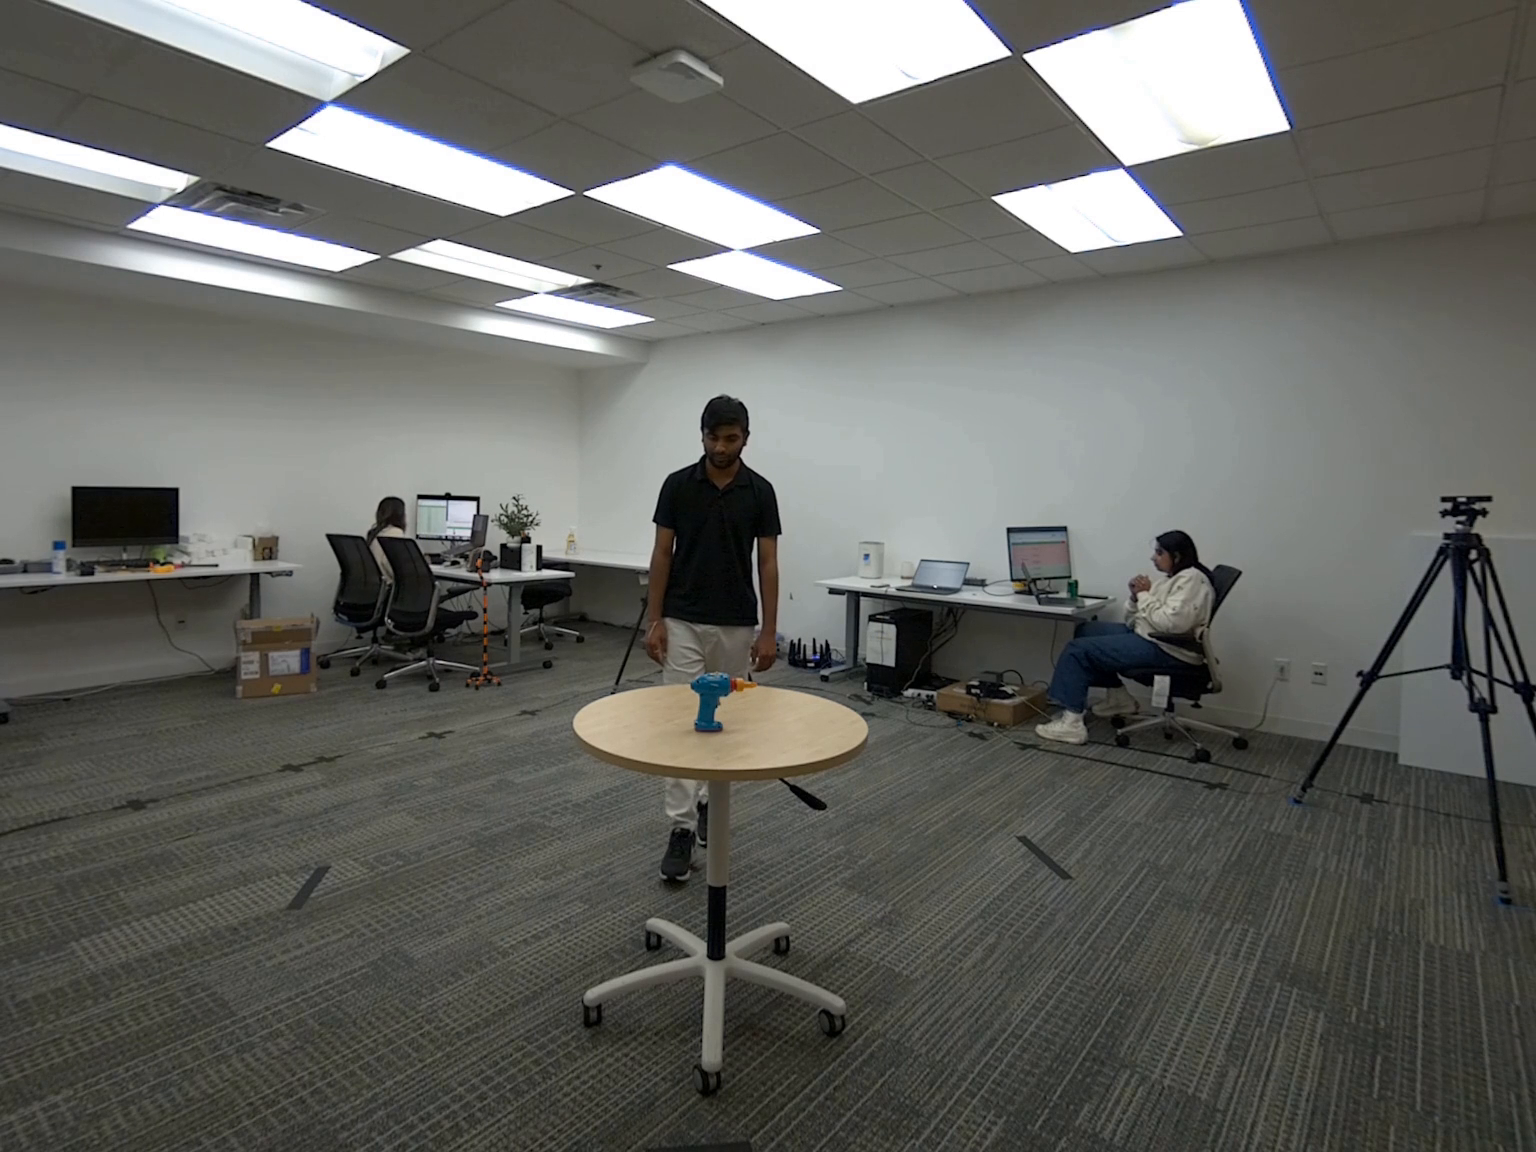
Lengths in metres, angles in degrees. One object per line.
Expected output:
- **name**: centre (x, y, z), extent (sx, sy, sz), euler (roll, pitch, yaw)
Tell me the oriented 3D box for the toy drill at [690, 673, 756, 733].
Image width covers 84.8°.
- **toy drill**: centre (-0.116, 0.309, 2.145), extent (0.168, 0.145, 0.062), euler (0, 3, -11)
